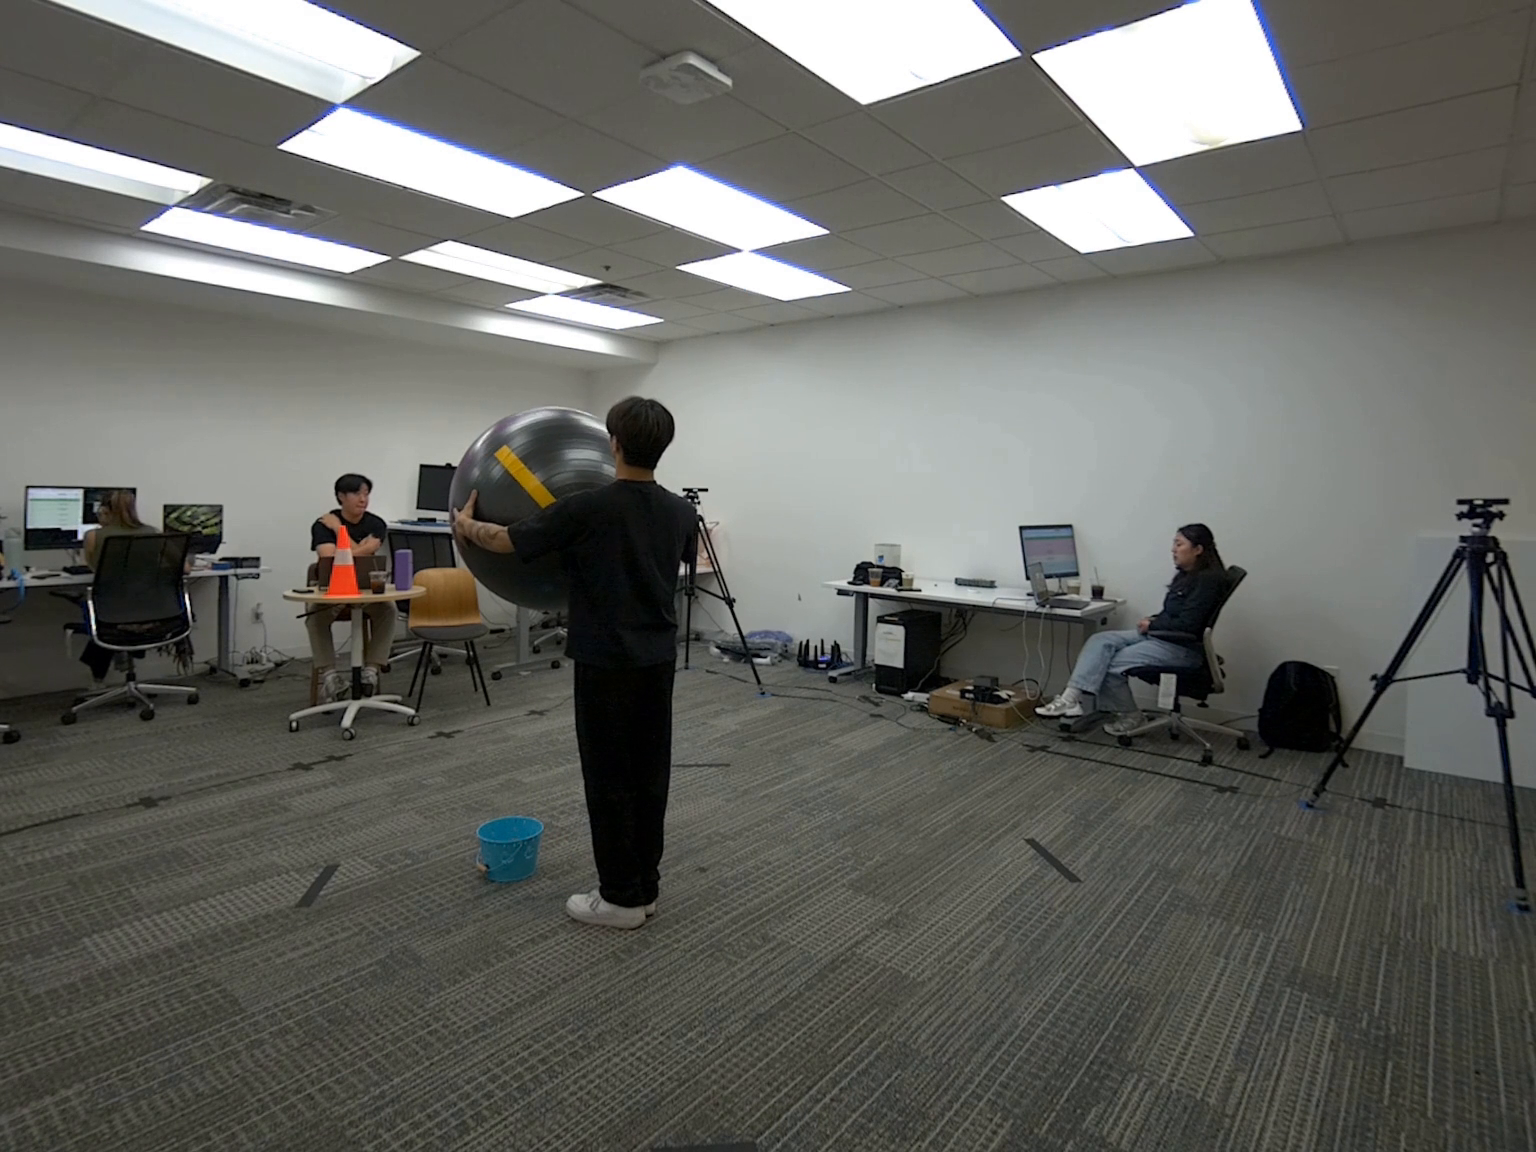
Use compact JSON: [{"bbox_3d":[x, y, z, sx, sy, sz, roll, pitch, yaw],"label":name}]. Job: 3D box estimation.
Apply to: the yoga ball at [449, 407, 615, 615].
[{"bbox_3d":[-0.820,-0.244,3.179,0.757,0.756,0.762,1,4,-2],"label":"yoga ball"}]
